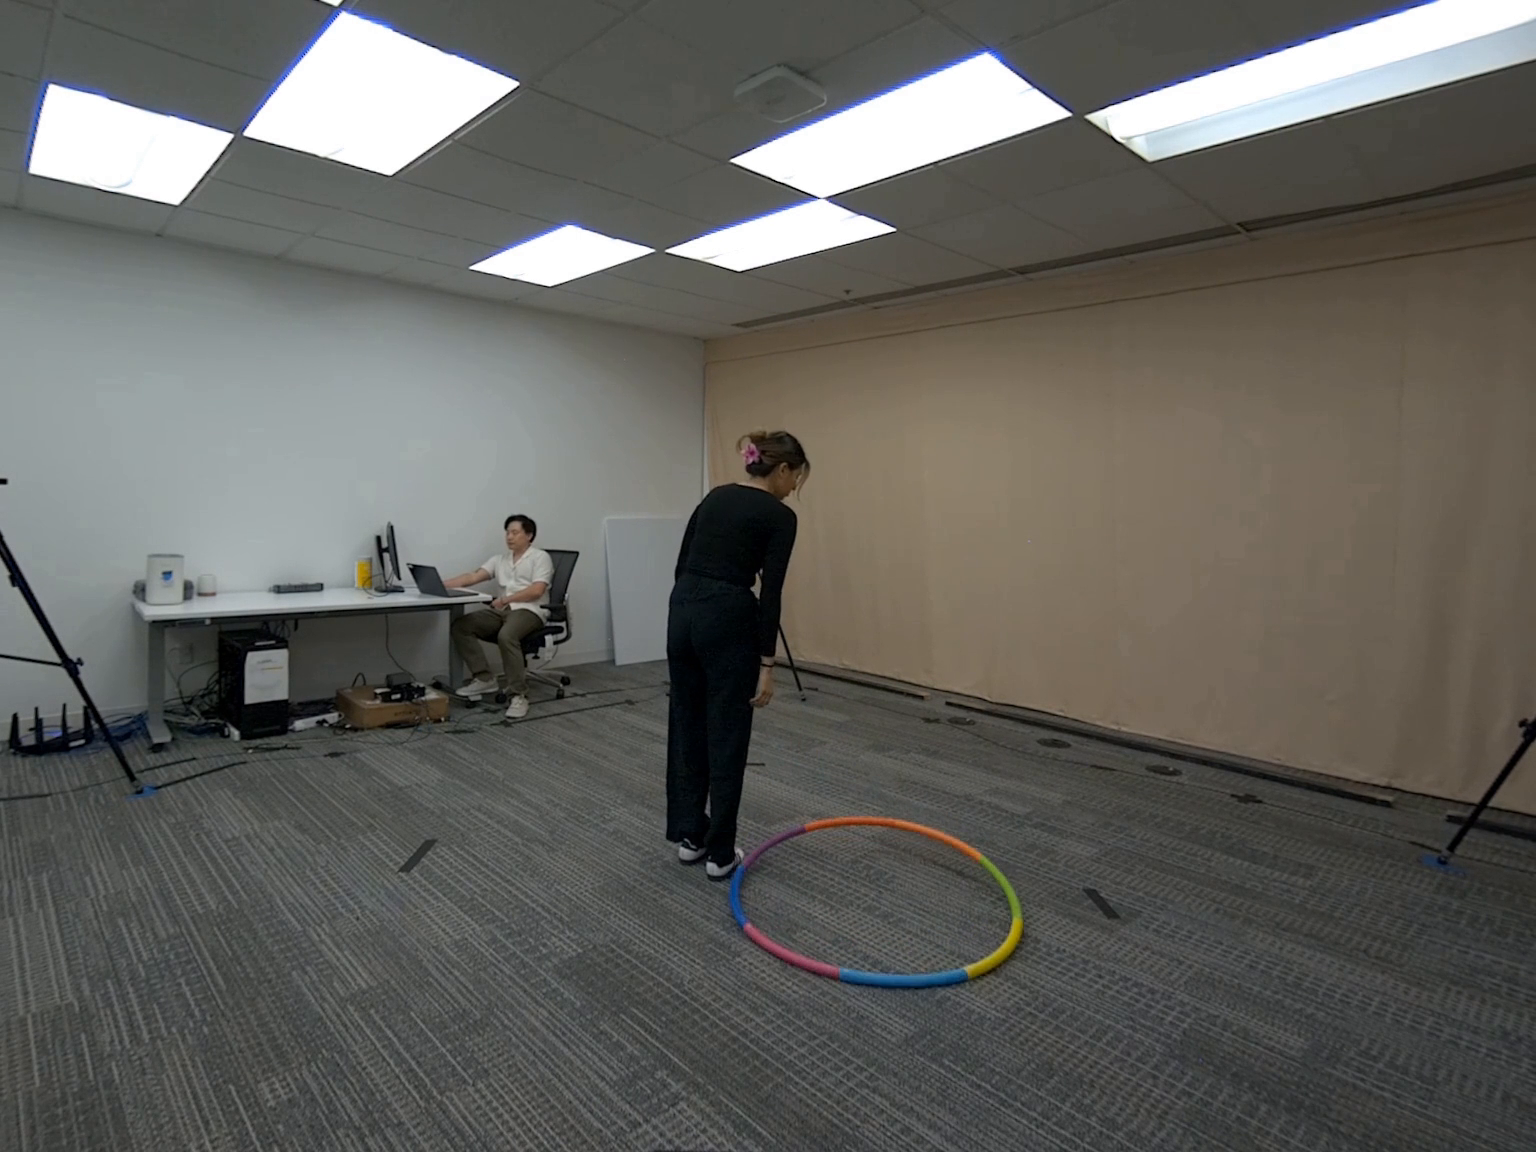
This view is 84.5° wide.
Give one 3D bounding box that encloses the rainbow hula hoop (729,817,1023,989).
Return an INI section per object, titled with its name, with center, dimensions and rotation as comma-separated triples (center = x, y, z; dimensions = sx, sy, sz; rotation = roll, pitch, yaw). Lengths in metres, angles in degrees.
[rainbow hula hoop]
center = 0.351, 1.075, 2.890
dimensions = 0.985, 0.051, 0.991
rotation = 0, 8, -1
